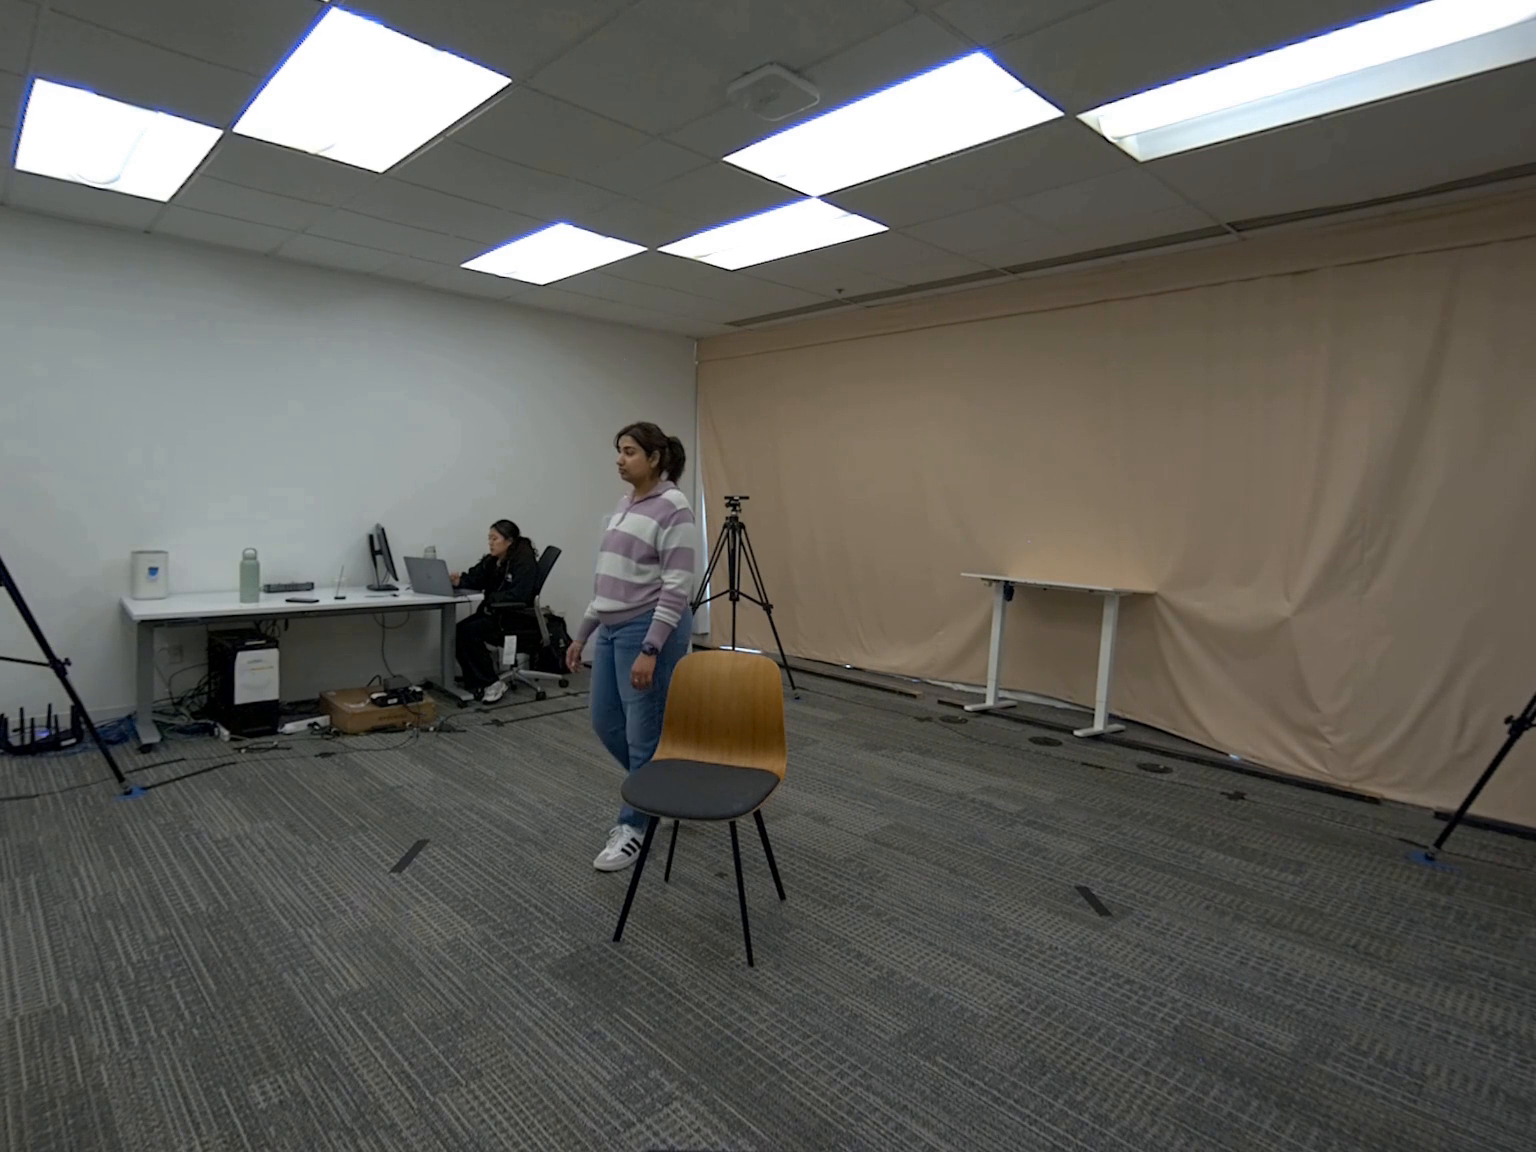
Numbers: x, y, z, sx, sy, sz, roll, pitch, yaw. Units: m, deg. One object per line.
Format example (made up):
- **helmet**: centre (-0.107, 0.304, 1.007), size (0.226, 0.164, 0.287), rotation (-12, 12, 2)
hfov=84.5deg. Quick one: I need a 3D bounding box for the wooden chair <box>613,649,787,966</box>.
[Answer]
- **wooden chair**: centre (-0.204, 0.712, 2.732), size (0.484, 0.877, 0.516), rotation (2, 0, 15)
